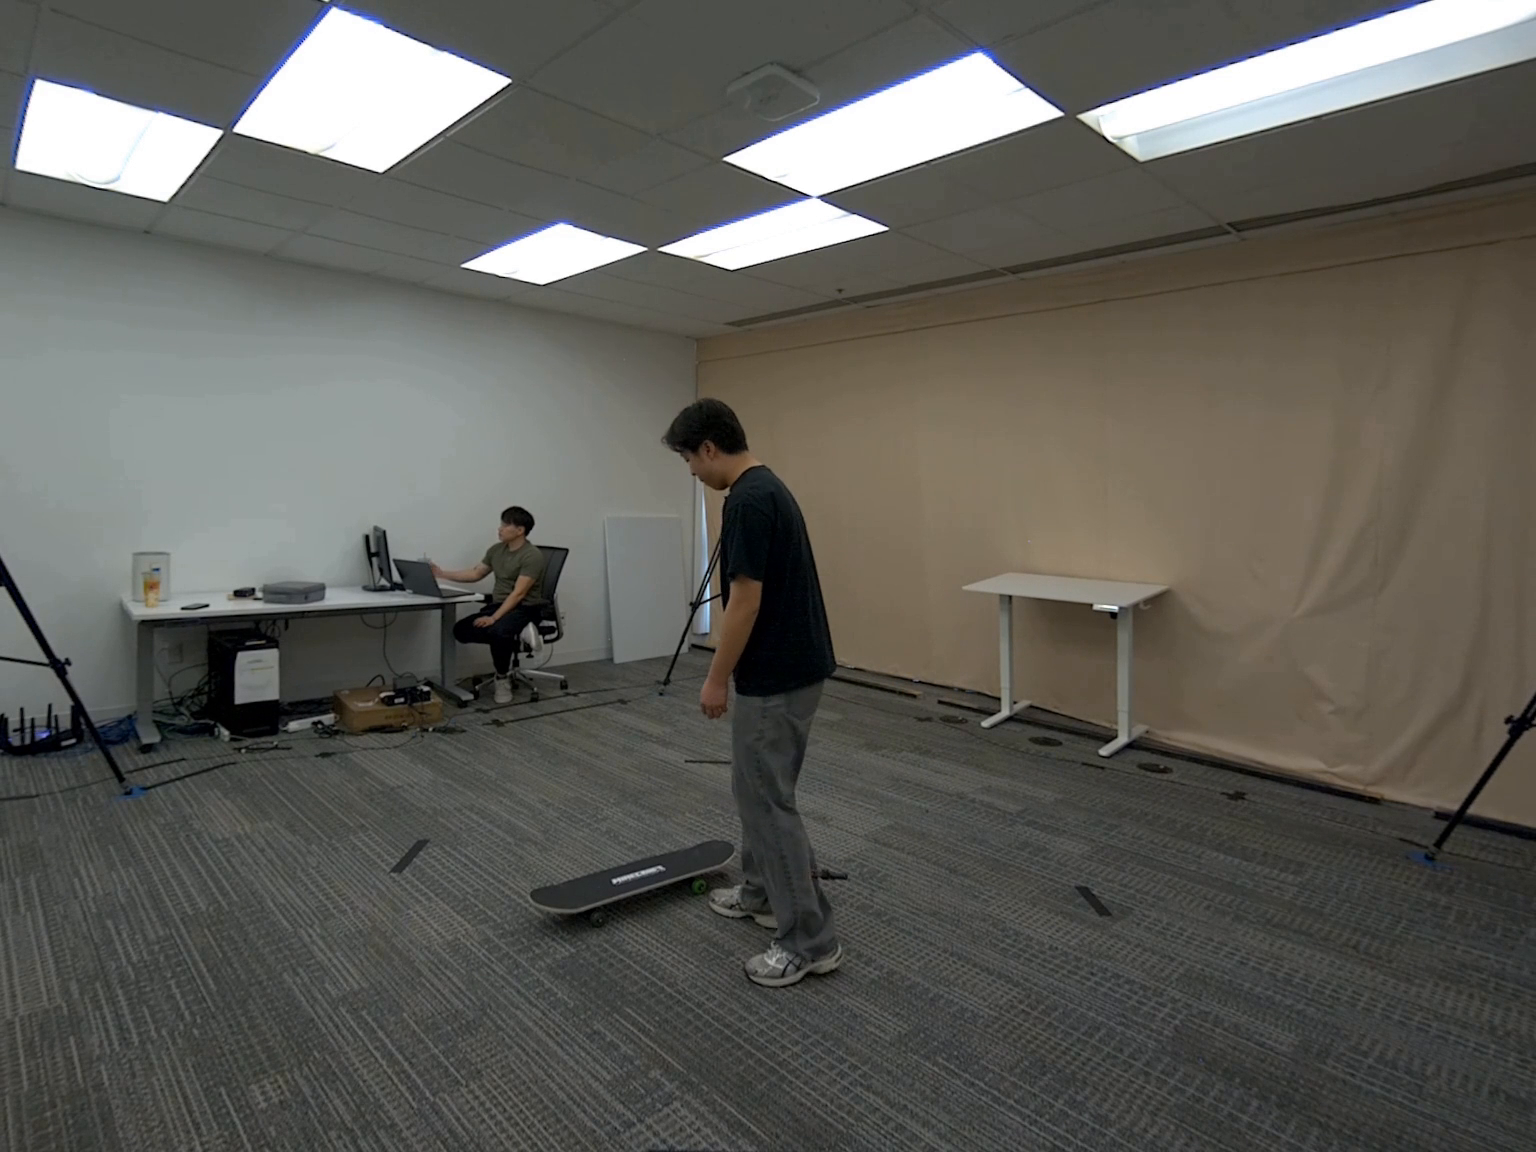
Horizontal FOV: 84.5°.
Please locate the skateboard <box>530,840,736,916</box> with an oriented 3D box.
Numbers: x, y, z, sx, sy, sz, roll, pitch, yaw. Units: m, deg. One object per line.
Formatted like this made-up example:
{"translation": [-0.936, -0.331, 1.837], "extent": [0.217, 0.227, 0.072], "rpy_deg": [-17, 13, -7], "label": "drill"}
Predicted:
{"translation": [-0.448, 1.059, 2.889], "extent": [0.768, 0.110, 0.198], "rpy_deg": [-3, 7, -38], "label": "skateboard"}
